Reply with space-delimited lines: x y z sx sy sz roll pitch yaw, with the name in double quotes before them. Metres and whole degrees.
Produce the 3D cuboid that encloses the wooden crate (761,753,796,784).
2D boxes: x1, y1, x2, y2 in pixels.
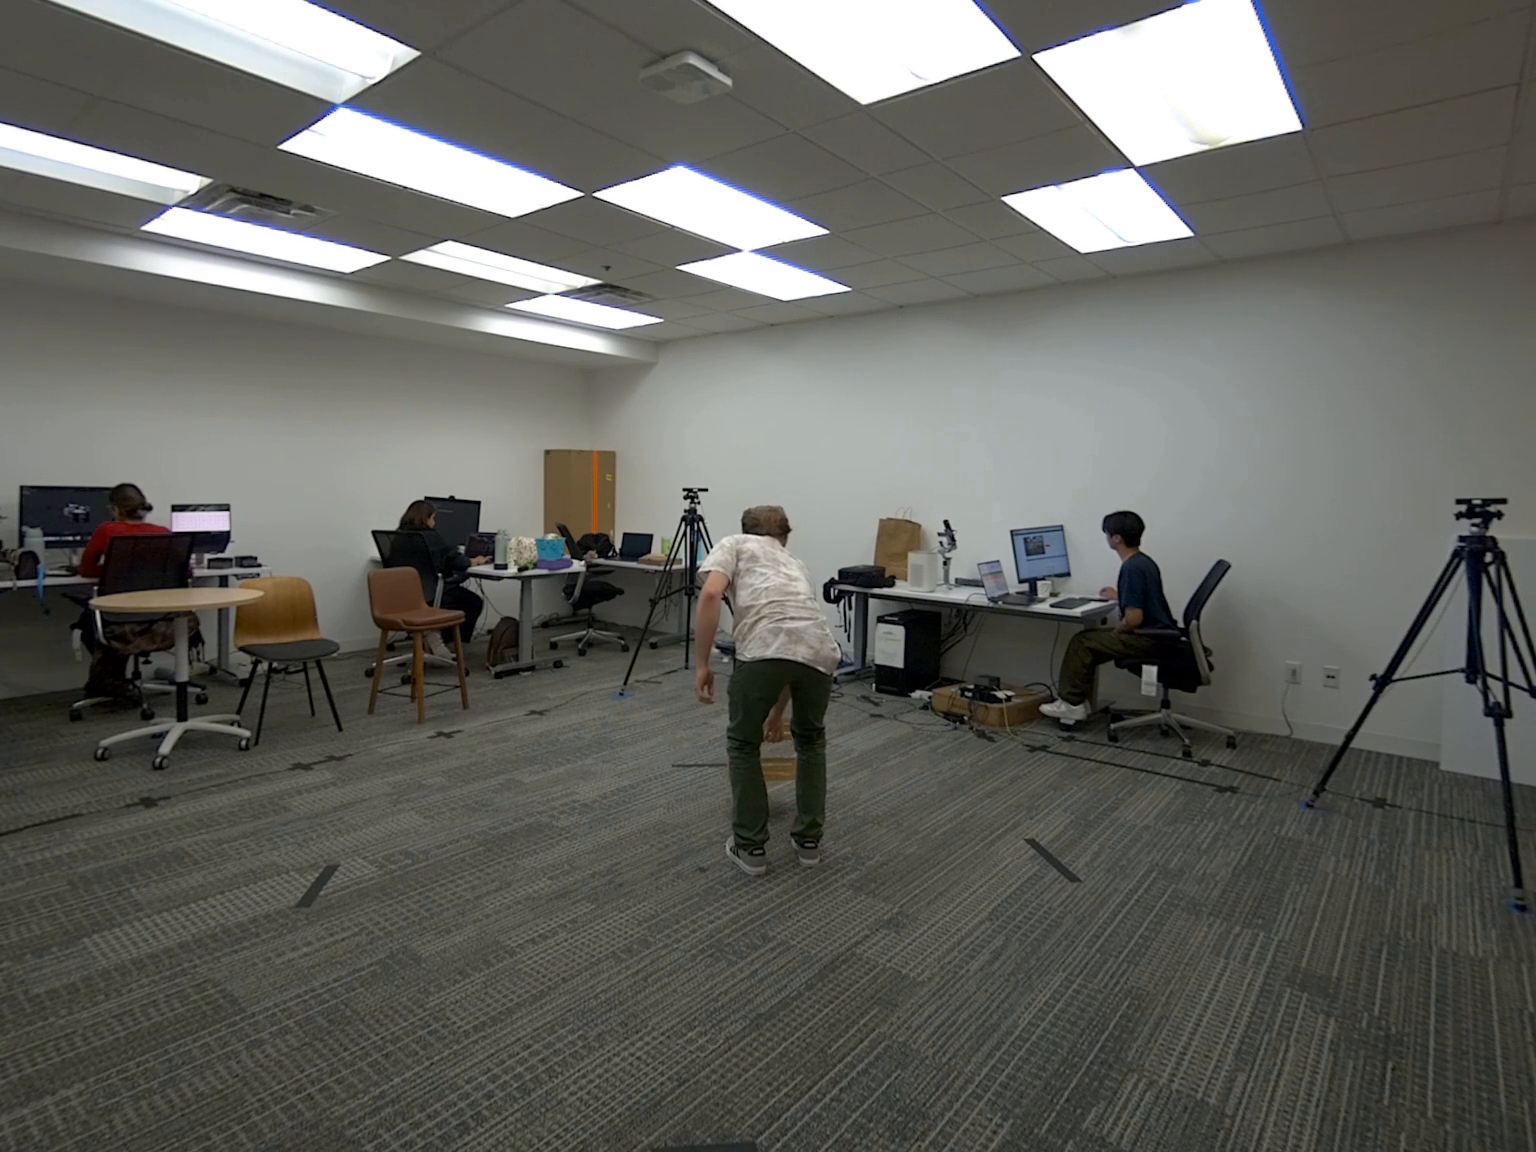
"wooden crate" -0.019 0.736 3.699 0.322 0.277 0.301 1 -12 -8
